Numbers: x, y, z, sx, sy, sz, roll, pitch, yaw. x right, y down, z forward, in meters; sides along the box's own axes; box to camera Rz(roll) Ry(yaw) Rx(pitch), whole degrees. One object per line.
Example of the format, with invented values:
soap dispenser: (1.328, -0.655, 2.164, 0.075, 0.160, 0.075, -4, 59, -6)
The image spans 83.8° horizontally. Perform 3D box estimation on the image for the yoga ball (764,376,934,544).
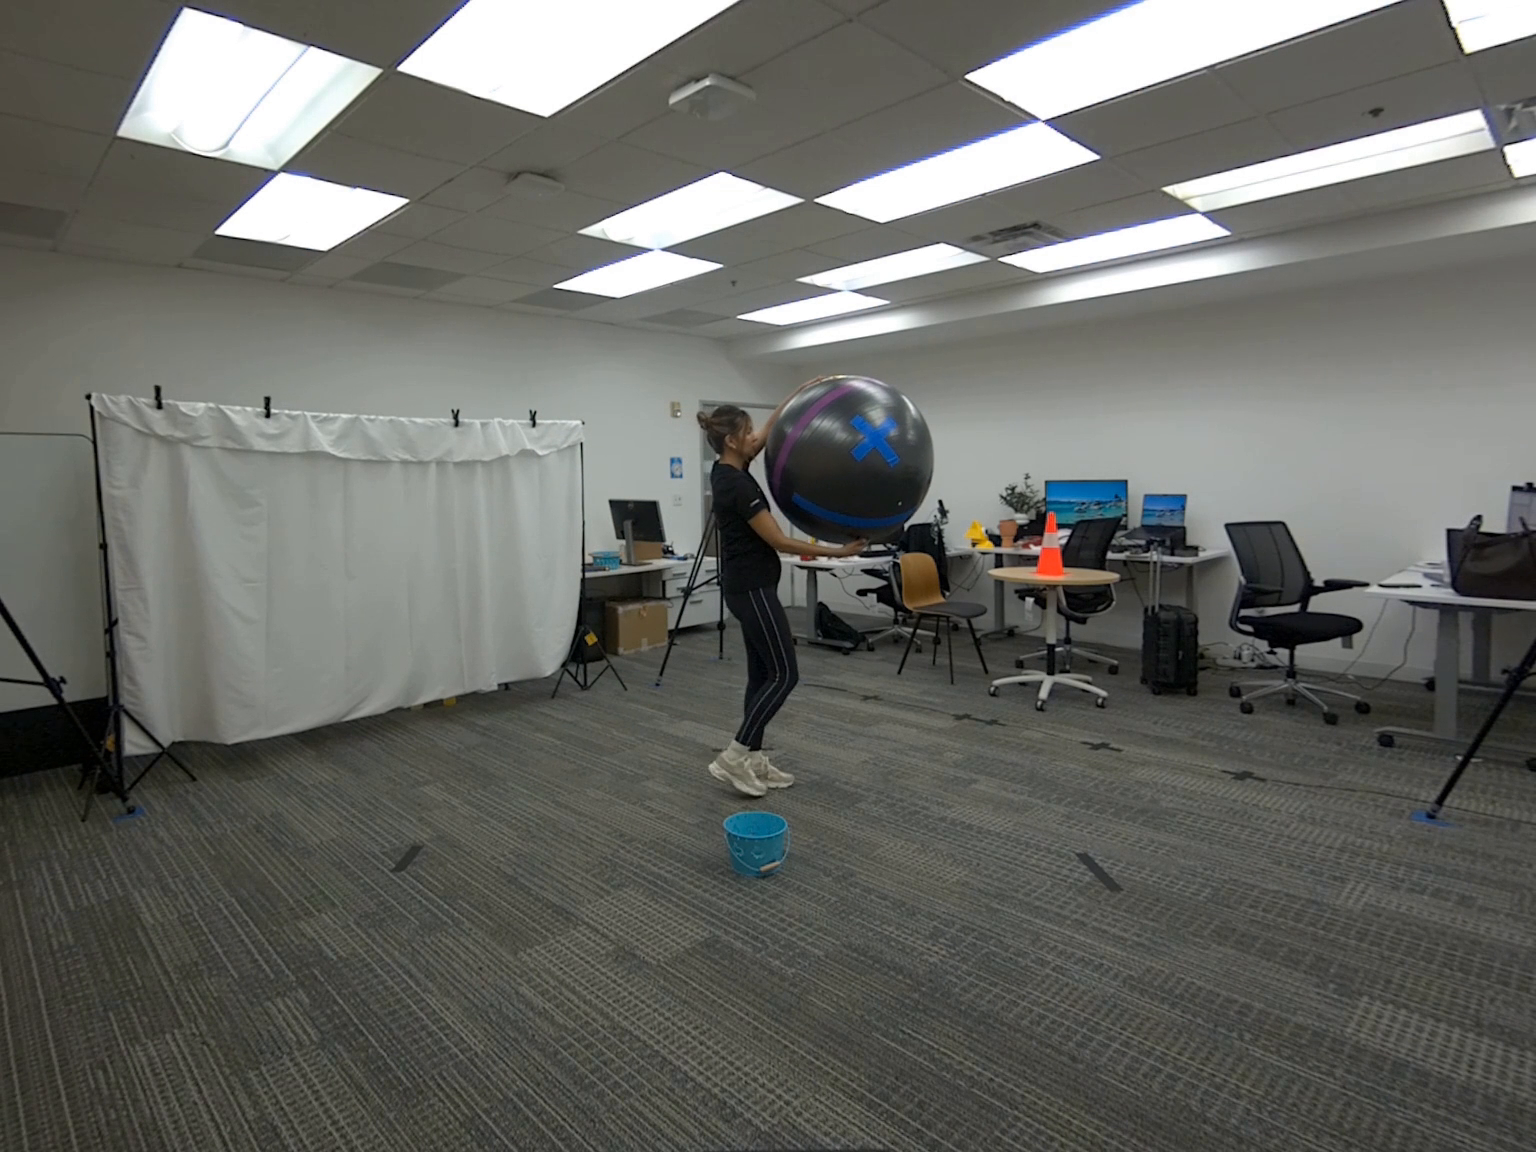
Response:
yoga ball: (0.362, -0.513, 3.850, 0.757, 0.755, 0.762, -1, 5, -2)
